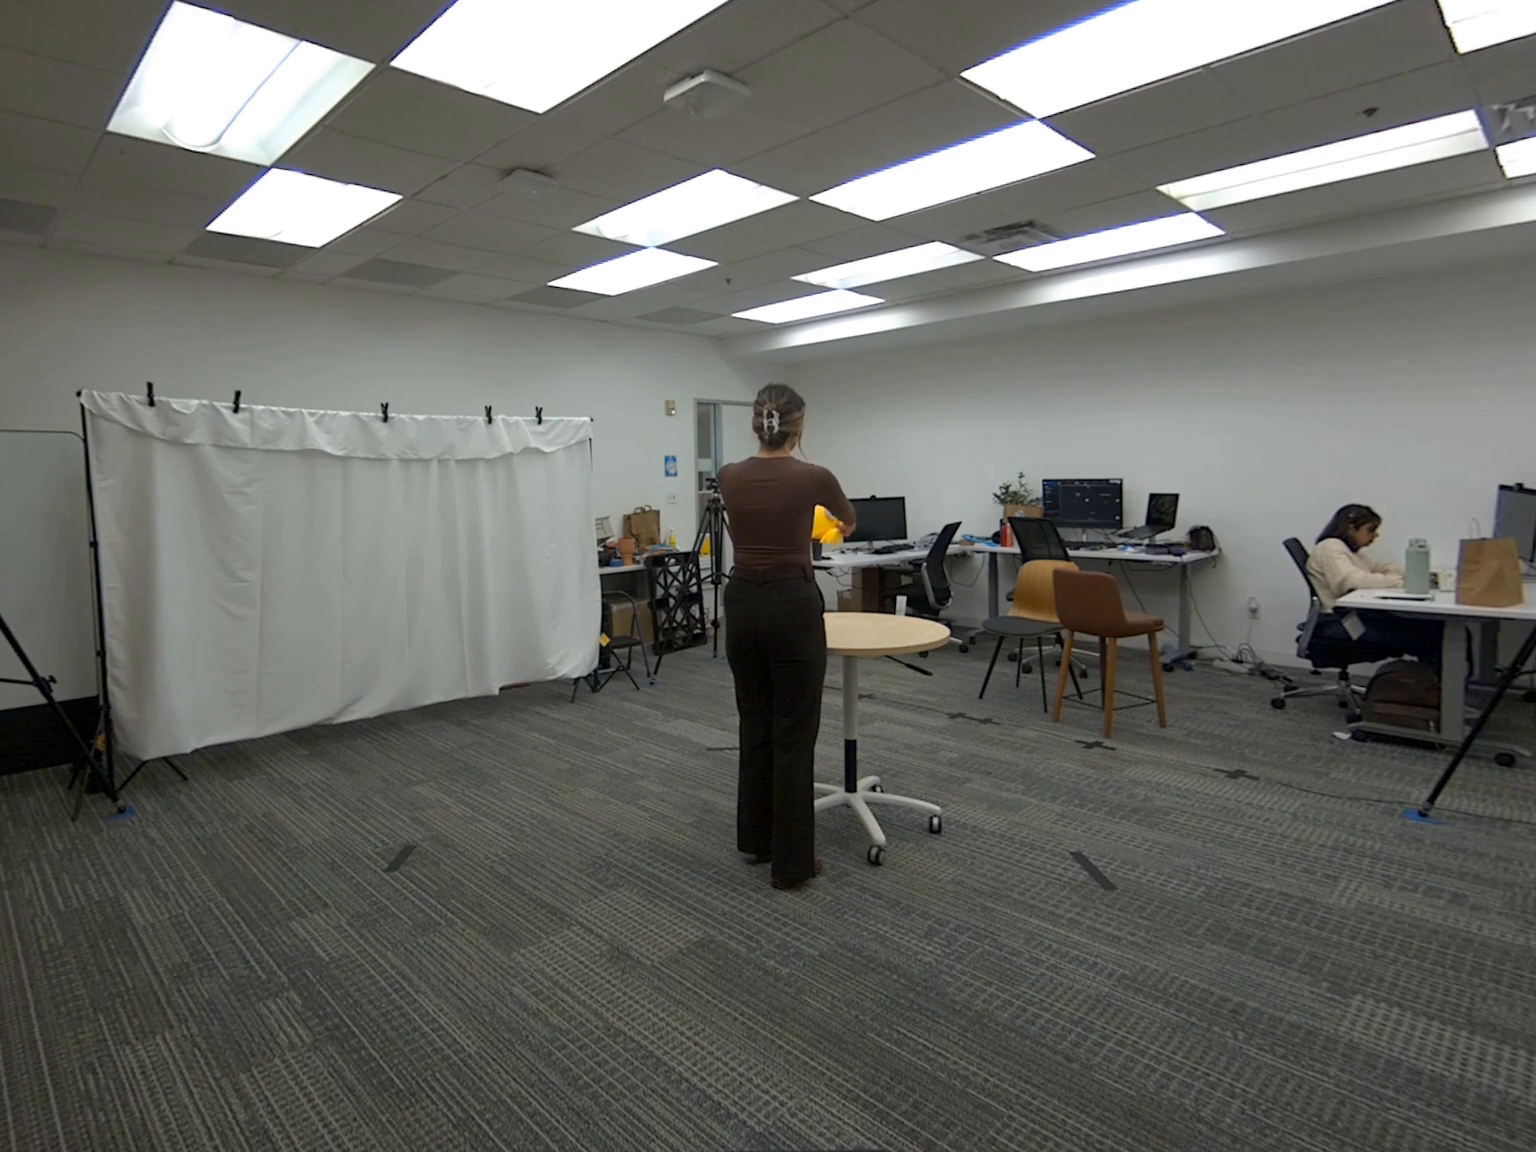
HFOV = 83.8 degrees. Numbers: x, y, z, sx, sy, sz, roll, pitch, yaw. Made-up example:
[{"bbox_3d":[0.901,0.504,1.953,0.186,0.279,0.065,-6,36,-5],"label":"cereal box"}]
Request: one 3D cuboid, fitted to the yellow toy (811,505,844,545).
[{"bbox_3d":[0.207,-0.253,3.523,0.208,0.230,0.190,2,3,15],"label":"yellow toy"}]
